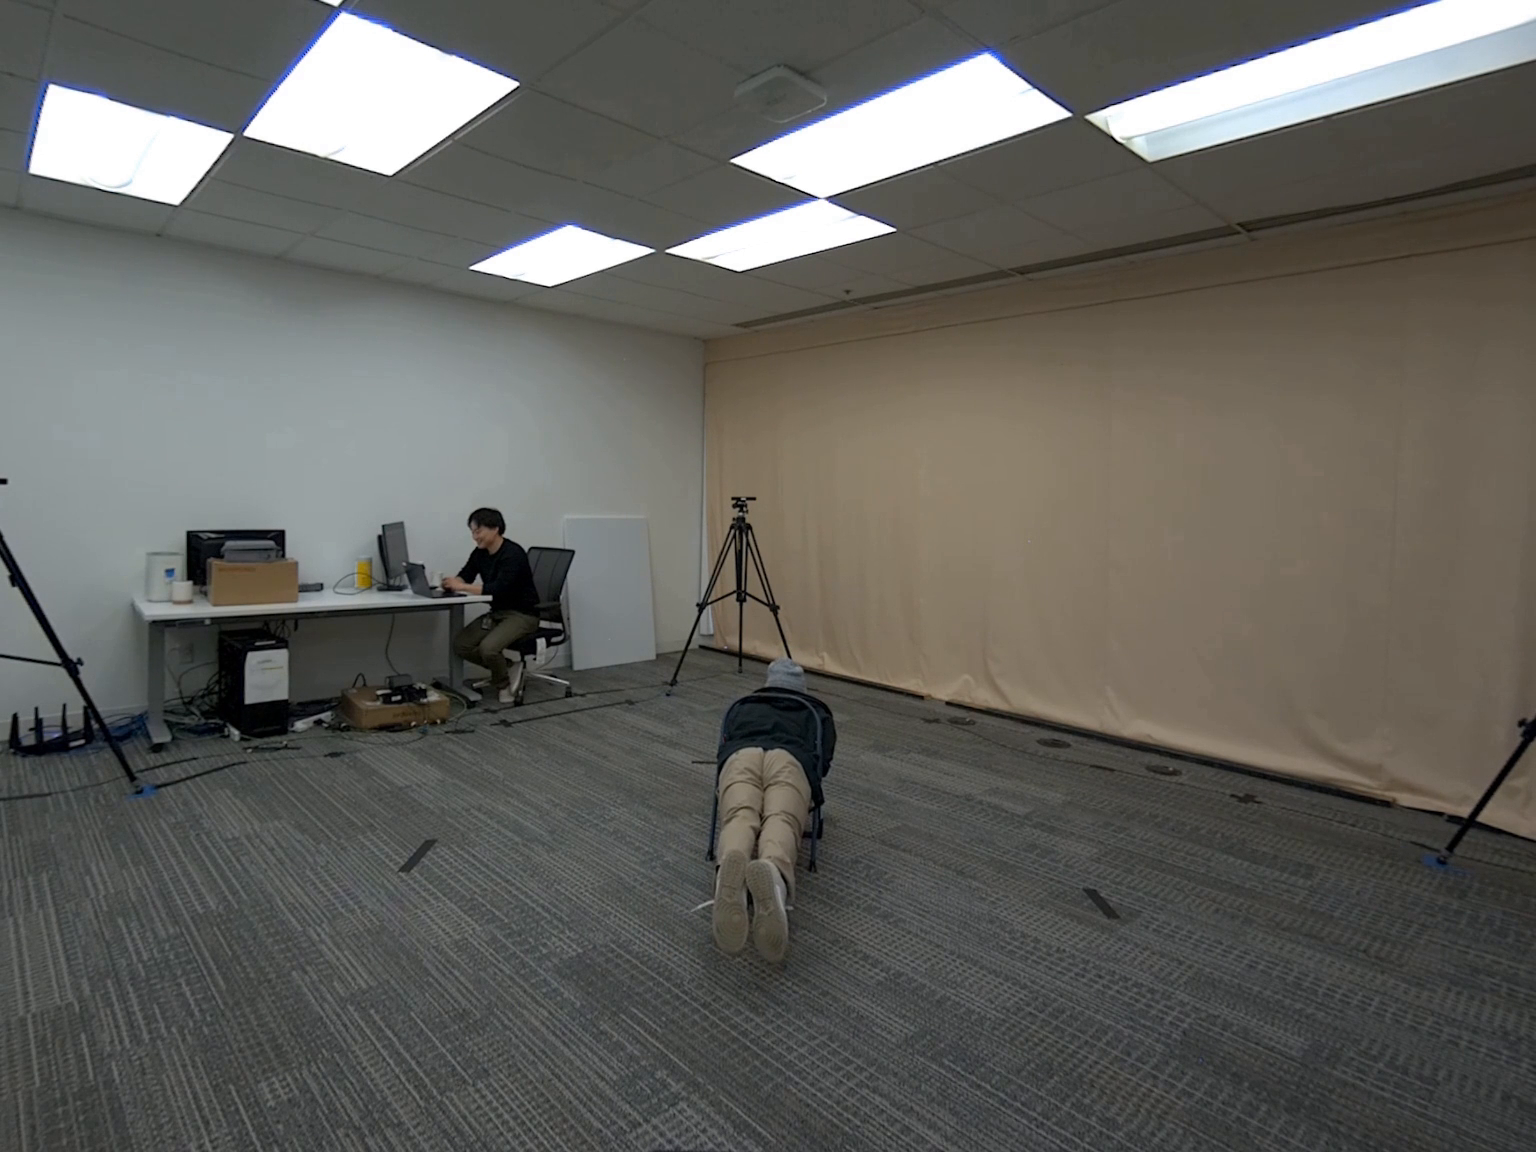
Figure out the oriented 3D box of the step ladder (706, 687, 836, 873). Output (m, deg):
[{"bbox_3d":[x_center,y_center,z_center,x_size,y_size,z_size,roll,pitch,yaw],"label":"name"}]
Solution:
[{"bbox_3d":[-0.004,0.790,3.352,0.434,0.605,0.347,2,2,9],"label":"step ladder"}]
